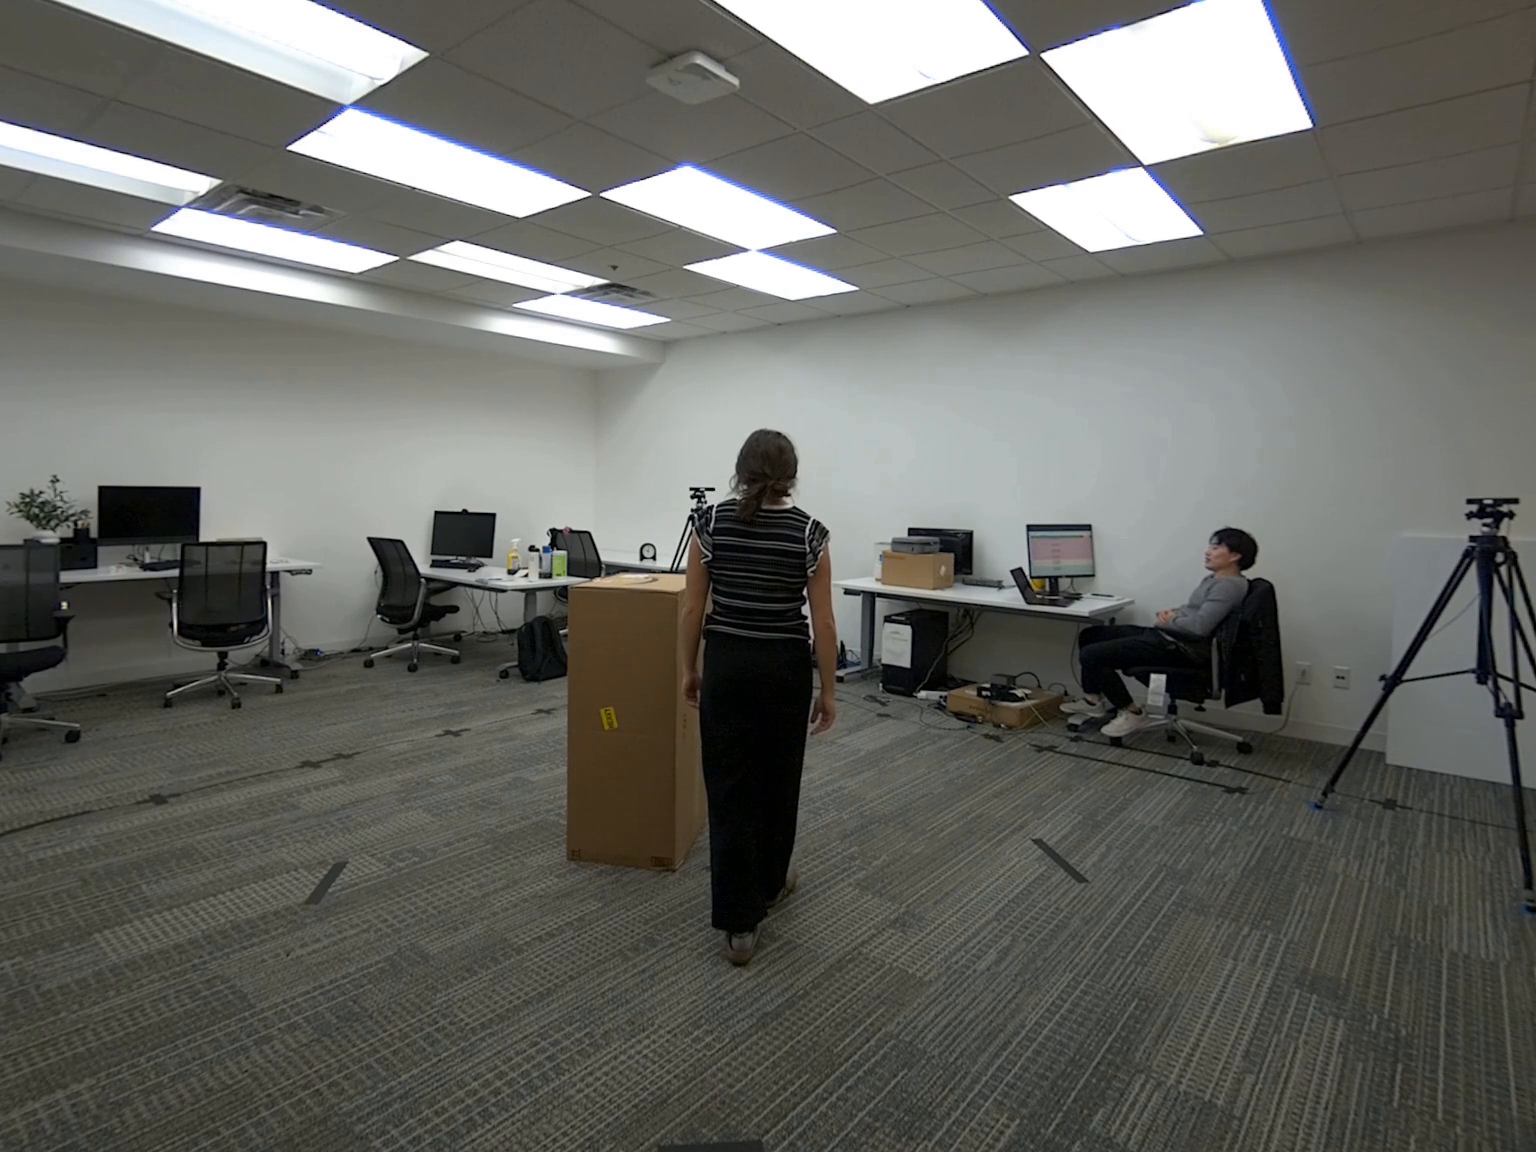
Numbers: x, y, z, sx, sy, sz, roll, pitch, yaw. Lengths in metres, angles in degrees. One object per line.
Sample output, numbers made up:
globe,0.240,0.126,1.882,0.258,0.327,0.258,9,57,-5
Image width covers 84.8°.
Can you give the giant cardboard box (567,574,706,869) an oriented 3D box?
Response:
giant cardboard box,-0.505,0.526,3.370,0.432,1.023,0.572,2,4,10
